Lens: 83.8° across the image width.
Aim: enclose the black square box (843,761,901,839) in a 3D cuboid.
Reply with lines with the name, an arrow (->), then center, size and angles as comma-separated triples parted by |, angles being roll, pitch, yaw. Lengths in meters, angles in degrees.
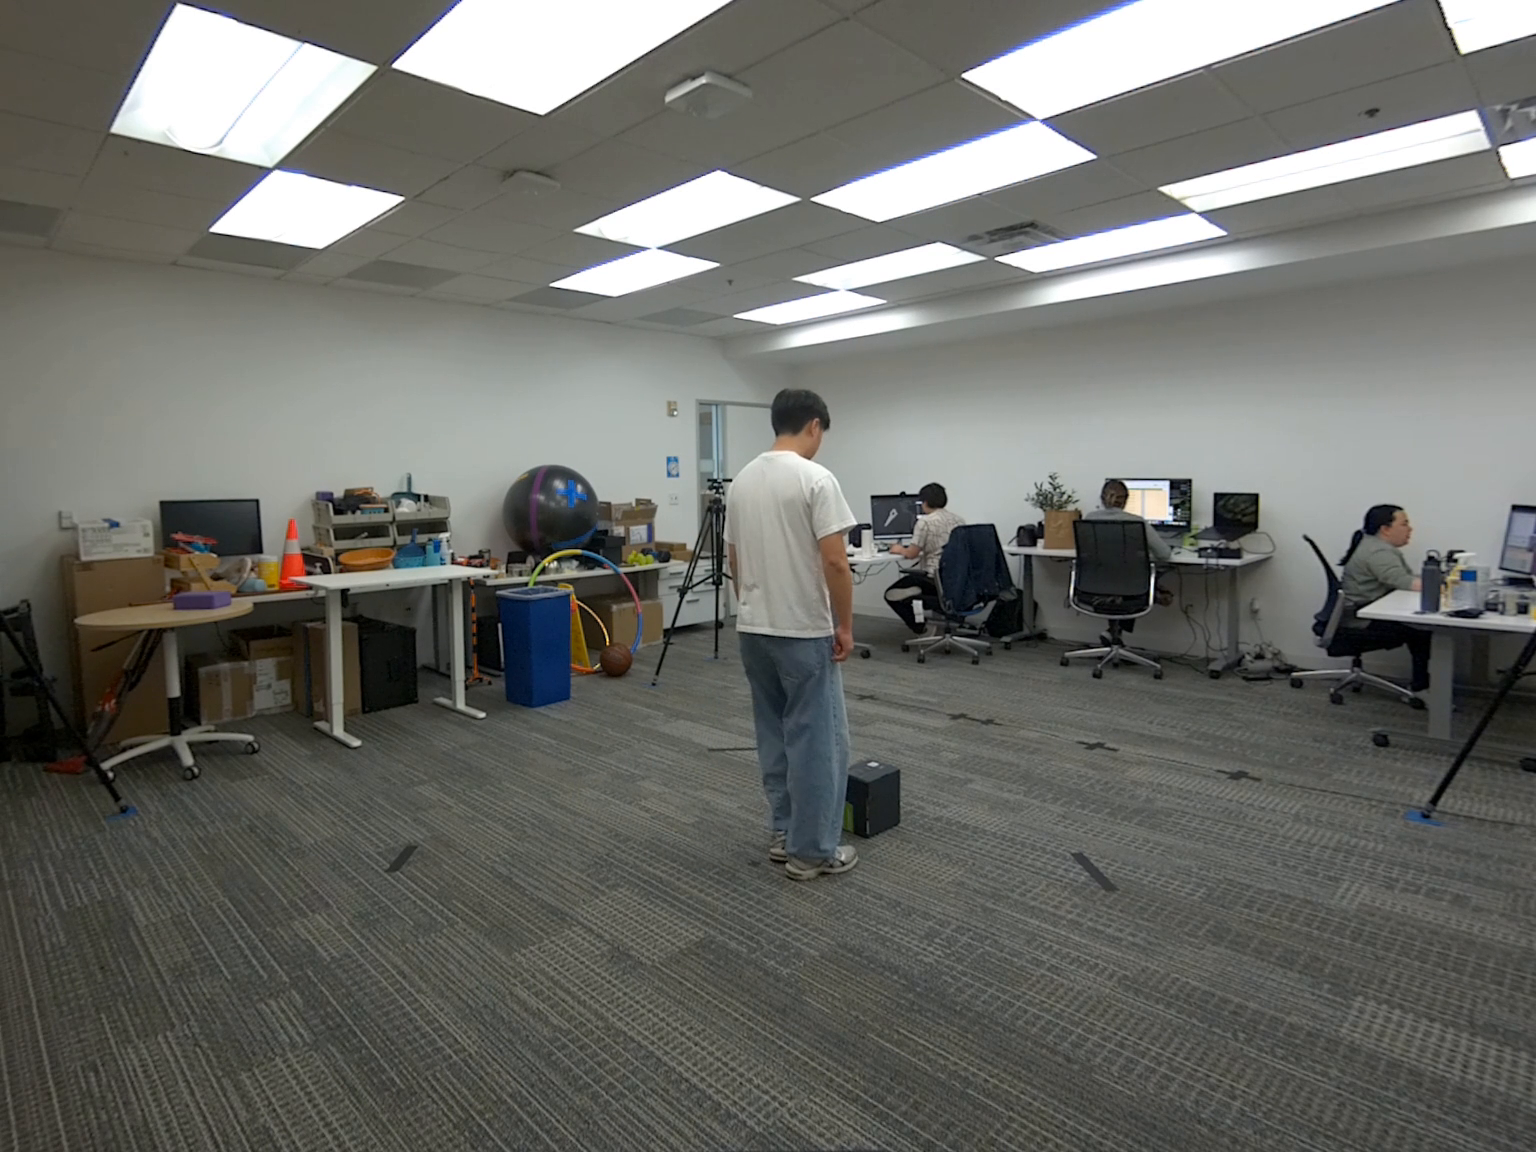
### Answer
black square box -> 0.401, 0.884, 3.412 | 0.161, 0.227, 0.211 | 4, 7, 44
